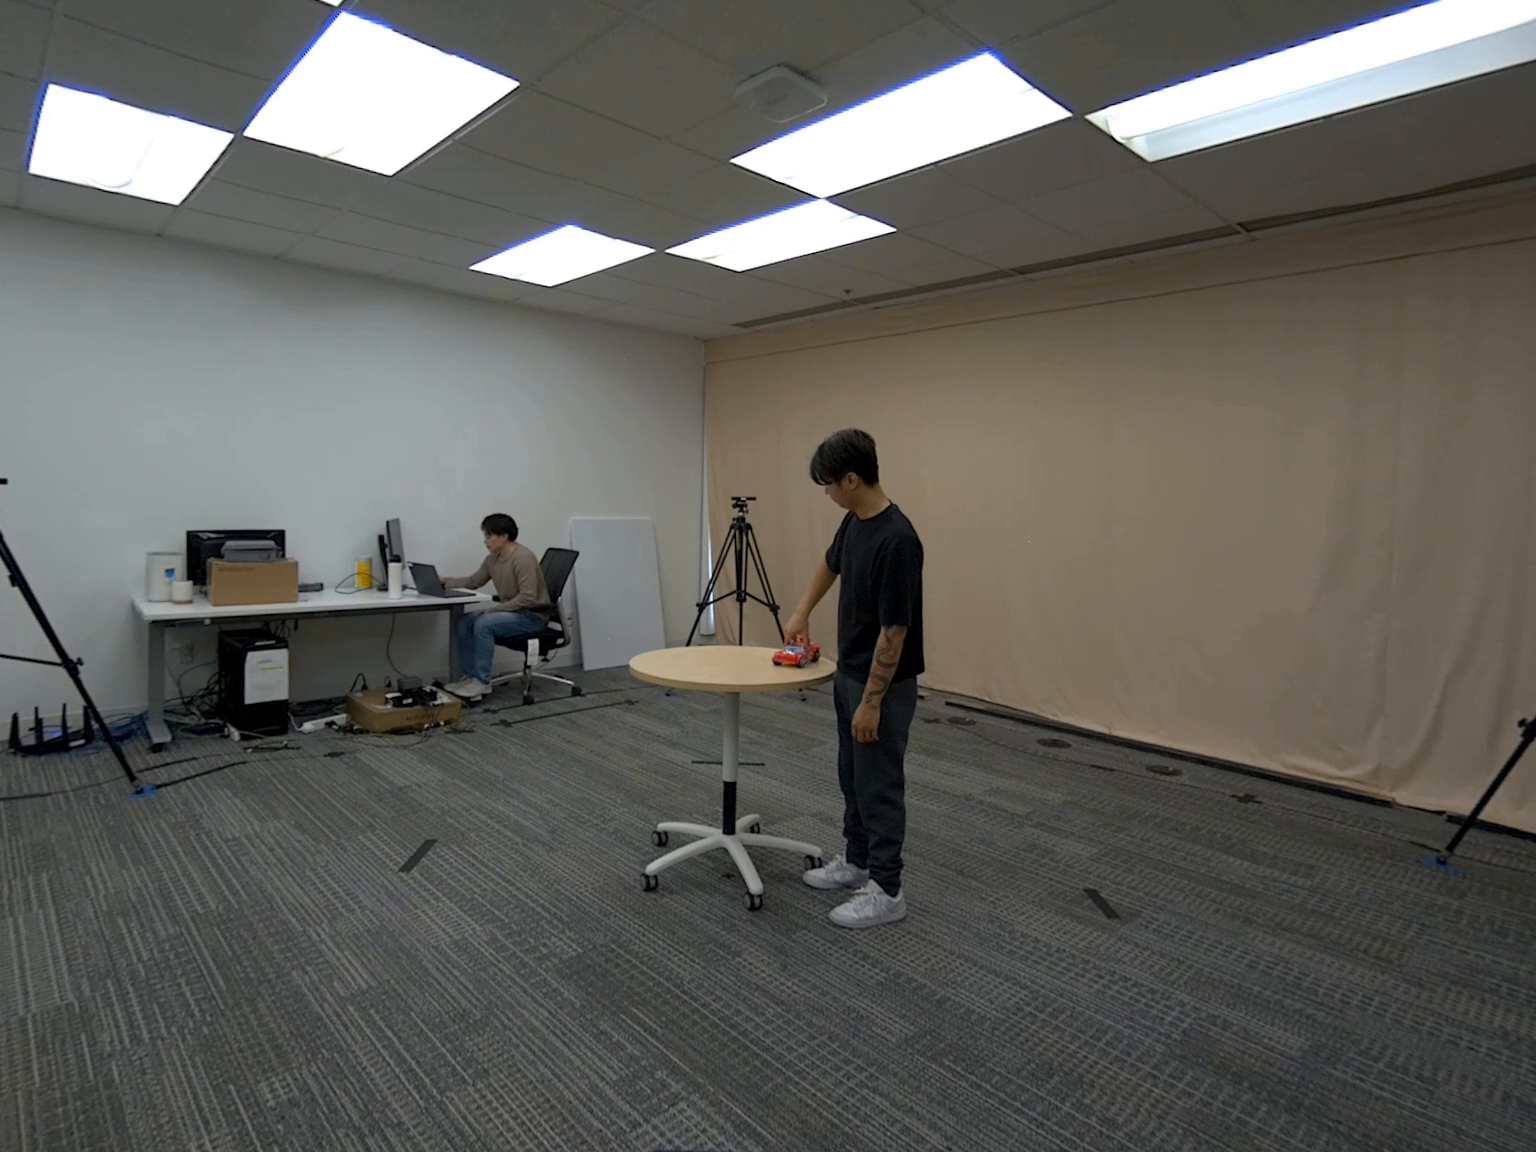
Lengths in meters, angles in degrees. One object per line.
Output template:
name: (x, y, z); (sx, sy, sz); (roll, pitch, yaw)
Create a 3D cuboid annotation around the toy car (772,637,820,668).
toy car: (0.108, 0.295, 3.155); (0.133, 0.082, 0.252); (2, 16, 26)
